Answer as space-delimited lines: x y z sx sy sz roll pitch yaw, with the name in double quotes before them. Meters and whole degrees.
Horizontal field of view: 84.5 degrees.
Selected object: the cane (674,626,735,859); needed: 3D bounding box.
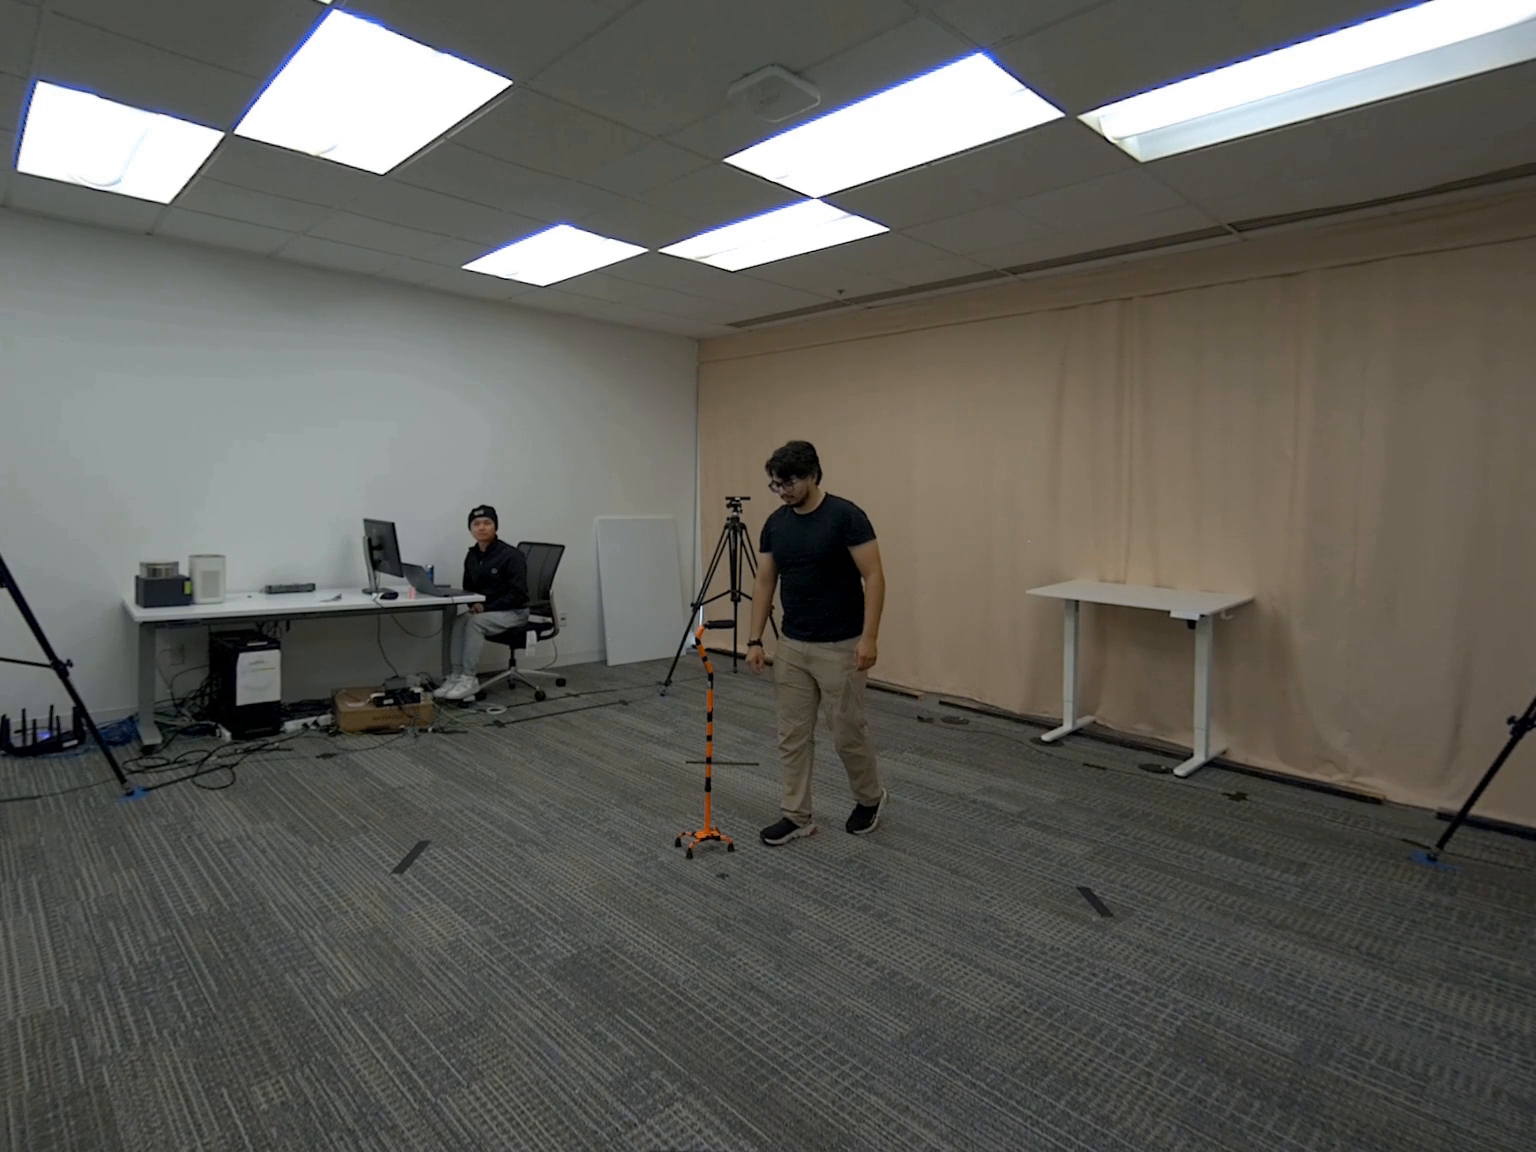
"cane" -0.244 0.633 3.326 0.202 0.906 0.154 1 2 -26
